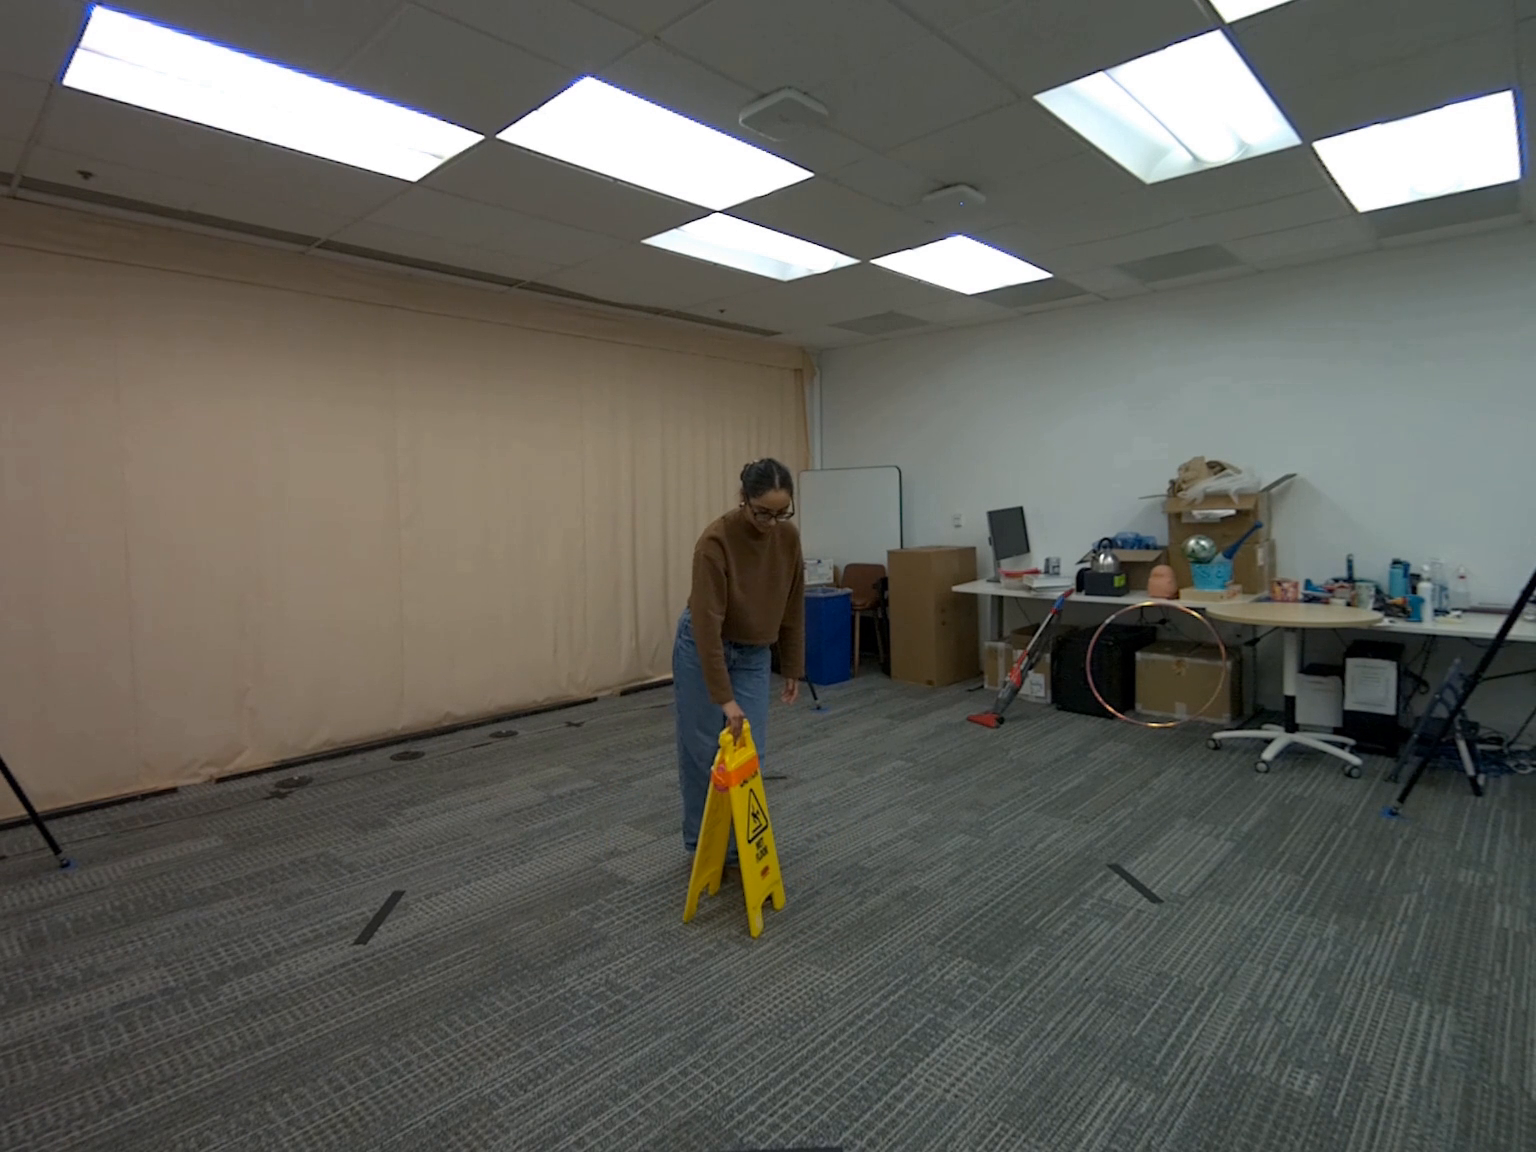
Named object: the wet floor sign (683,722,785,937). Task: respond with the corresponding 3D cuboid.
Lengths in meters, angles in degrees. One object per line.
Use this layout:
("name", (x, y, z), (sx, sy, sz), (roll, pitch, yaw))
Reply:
("wet floor sign", (-0.112, 0.818, 2.859), (0.297, 0.645, 0.276), (2, 4, 22))
